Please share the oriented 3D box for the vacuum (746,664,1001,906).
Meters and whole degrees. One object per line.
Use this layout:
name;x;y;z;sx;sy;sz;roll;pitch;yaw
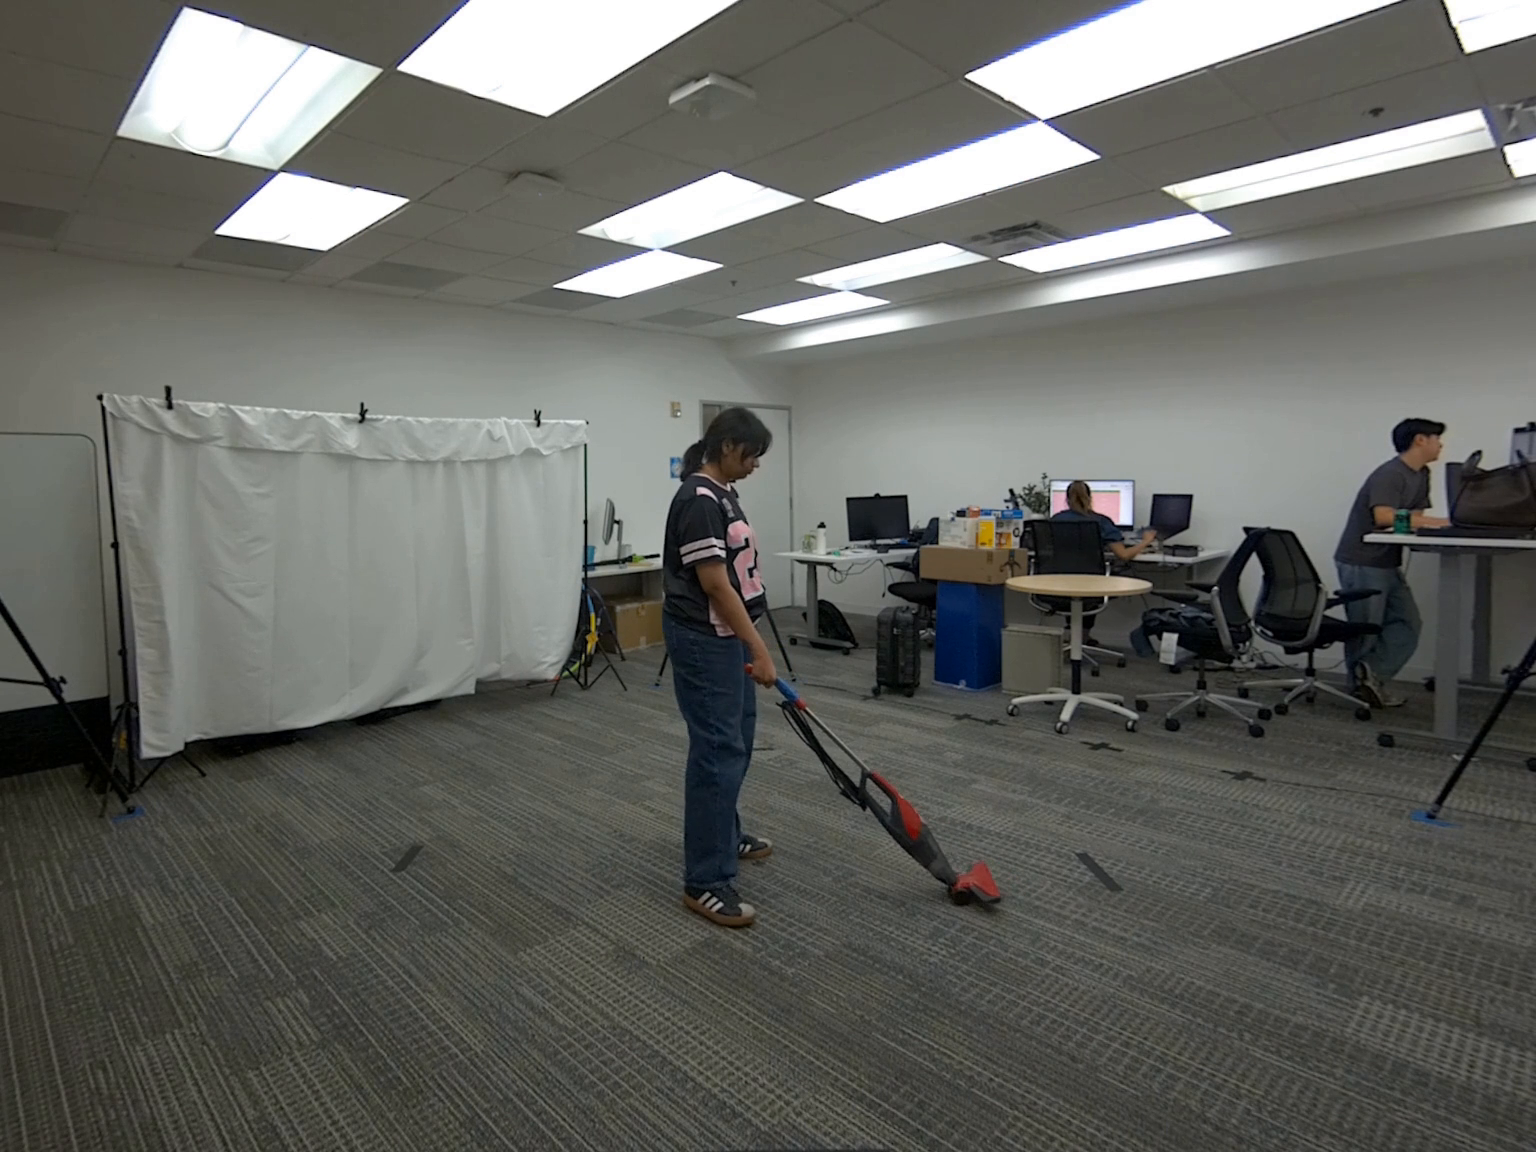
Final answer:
vacuum;0.306;0.672;2.851;0.144;1.053;0.252;-46;-2;4
